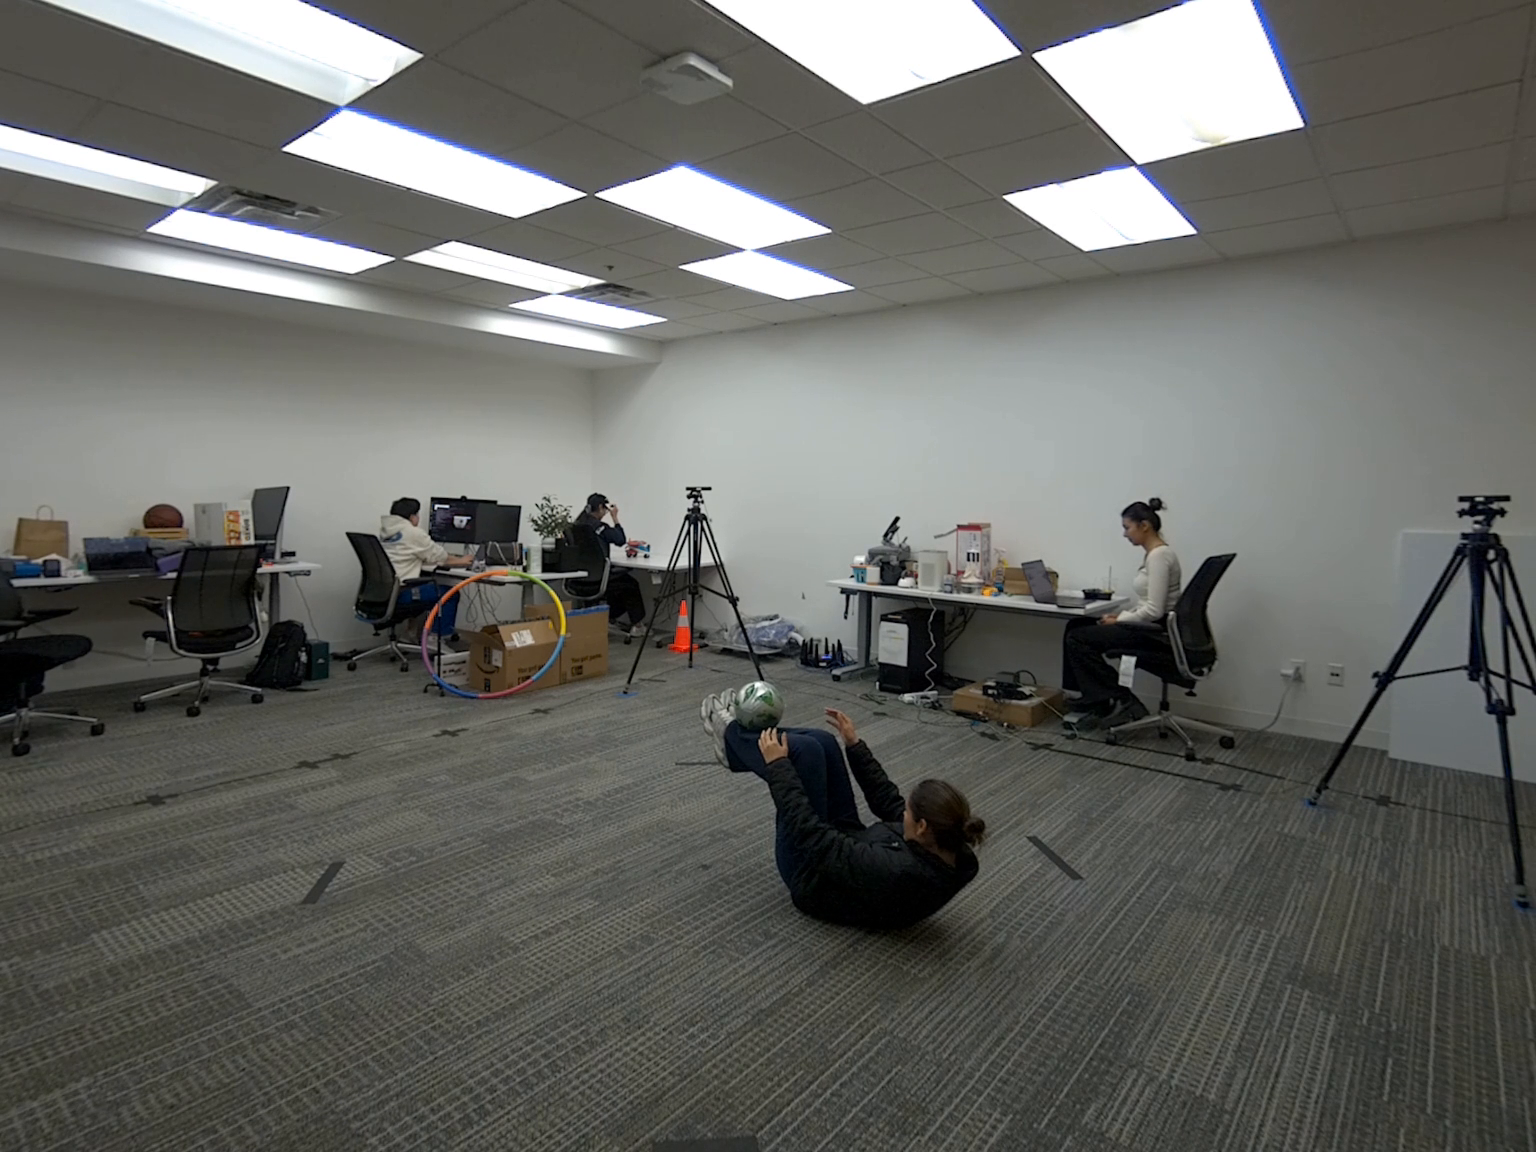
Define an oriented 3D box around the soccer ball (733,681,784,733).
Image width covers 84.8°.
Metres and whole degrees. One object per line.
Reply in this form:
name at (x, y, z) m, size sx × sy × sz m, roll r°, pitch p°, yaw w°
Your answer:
soccer ball at (-0.040, 0.480, 3.136) m, size 0.187 × 0.187 × 0.188 m, roll -3°, pitch 3°, yaw -2°
